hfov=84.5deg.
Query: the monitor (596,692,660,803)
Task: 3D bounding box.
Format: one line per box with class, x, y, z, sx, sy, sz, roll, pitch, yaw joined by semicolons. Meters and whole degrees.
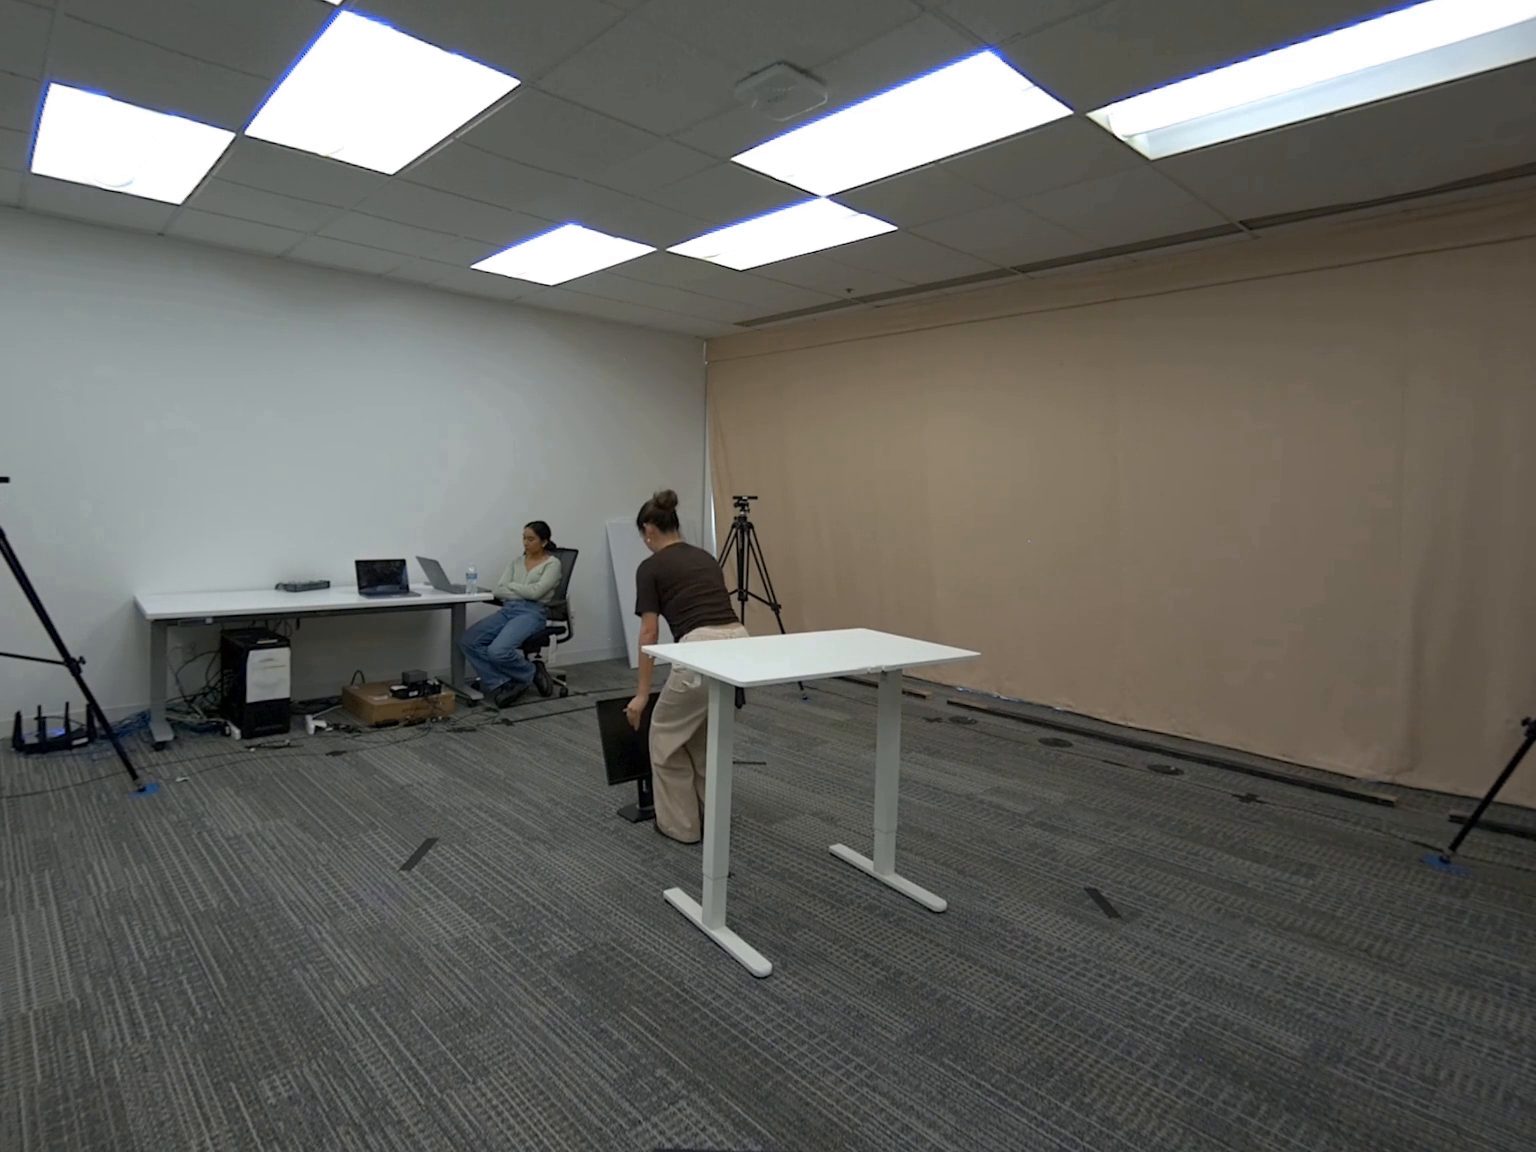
monitor;-0.535;0.789;3.728;0.526;0.523;0.191;-1;-1;-44
